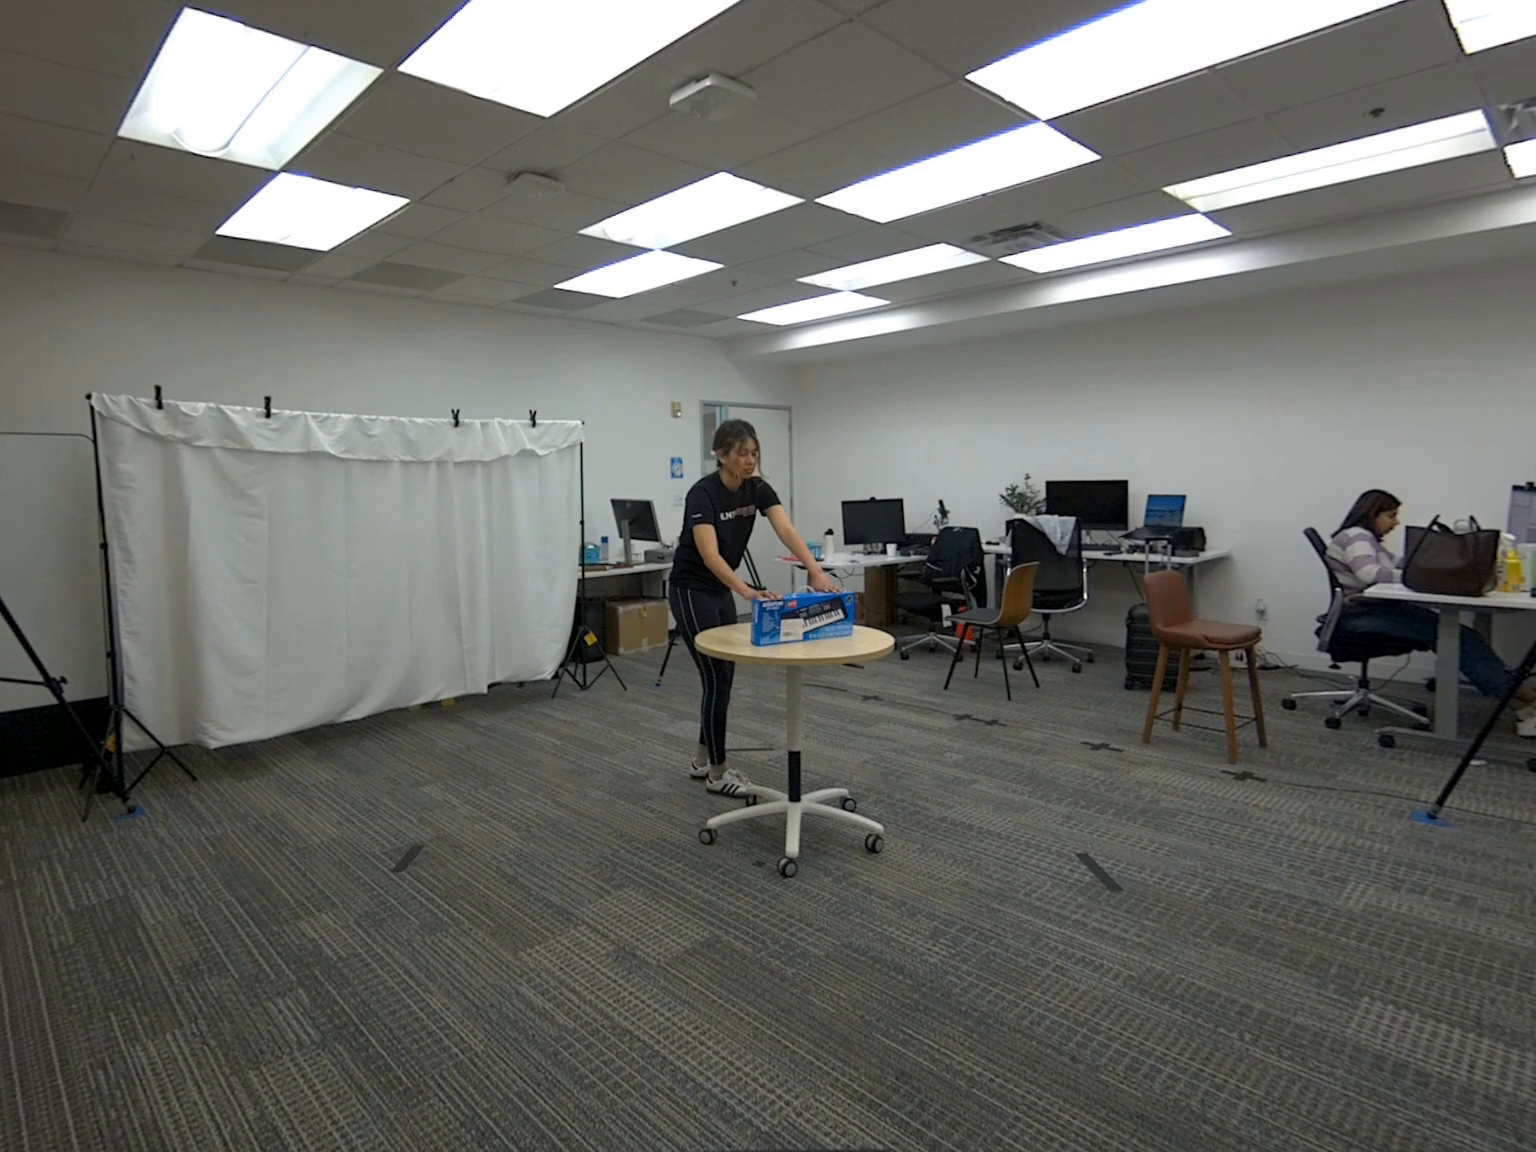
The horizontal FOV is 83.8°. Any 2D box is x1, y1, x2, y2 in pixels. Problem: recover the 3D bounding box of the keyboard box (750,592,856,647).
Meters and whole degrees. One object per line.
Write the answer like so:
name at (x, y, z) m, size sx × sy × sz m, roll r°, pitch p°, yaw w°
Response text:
keyboard box at (0.138, 0.159, 3.256) m, size 0.426 × 0.175 × 0.061 m, roll -4°, pitch 8°, yaw -30°
